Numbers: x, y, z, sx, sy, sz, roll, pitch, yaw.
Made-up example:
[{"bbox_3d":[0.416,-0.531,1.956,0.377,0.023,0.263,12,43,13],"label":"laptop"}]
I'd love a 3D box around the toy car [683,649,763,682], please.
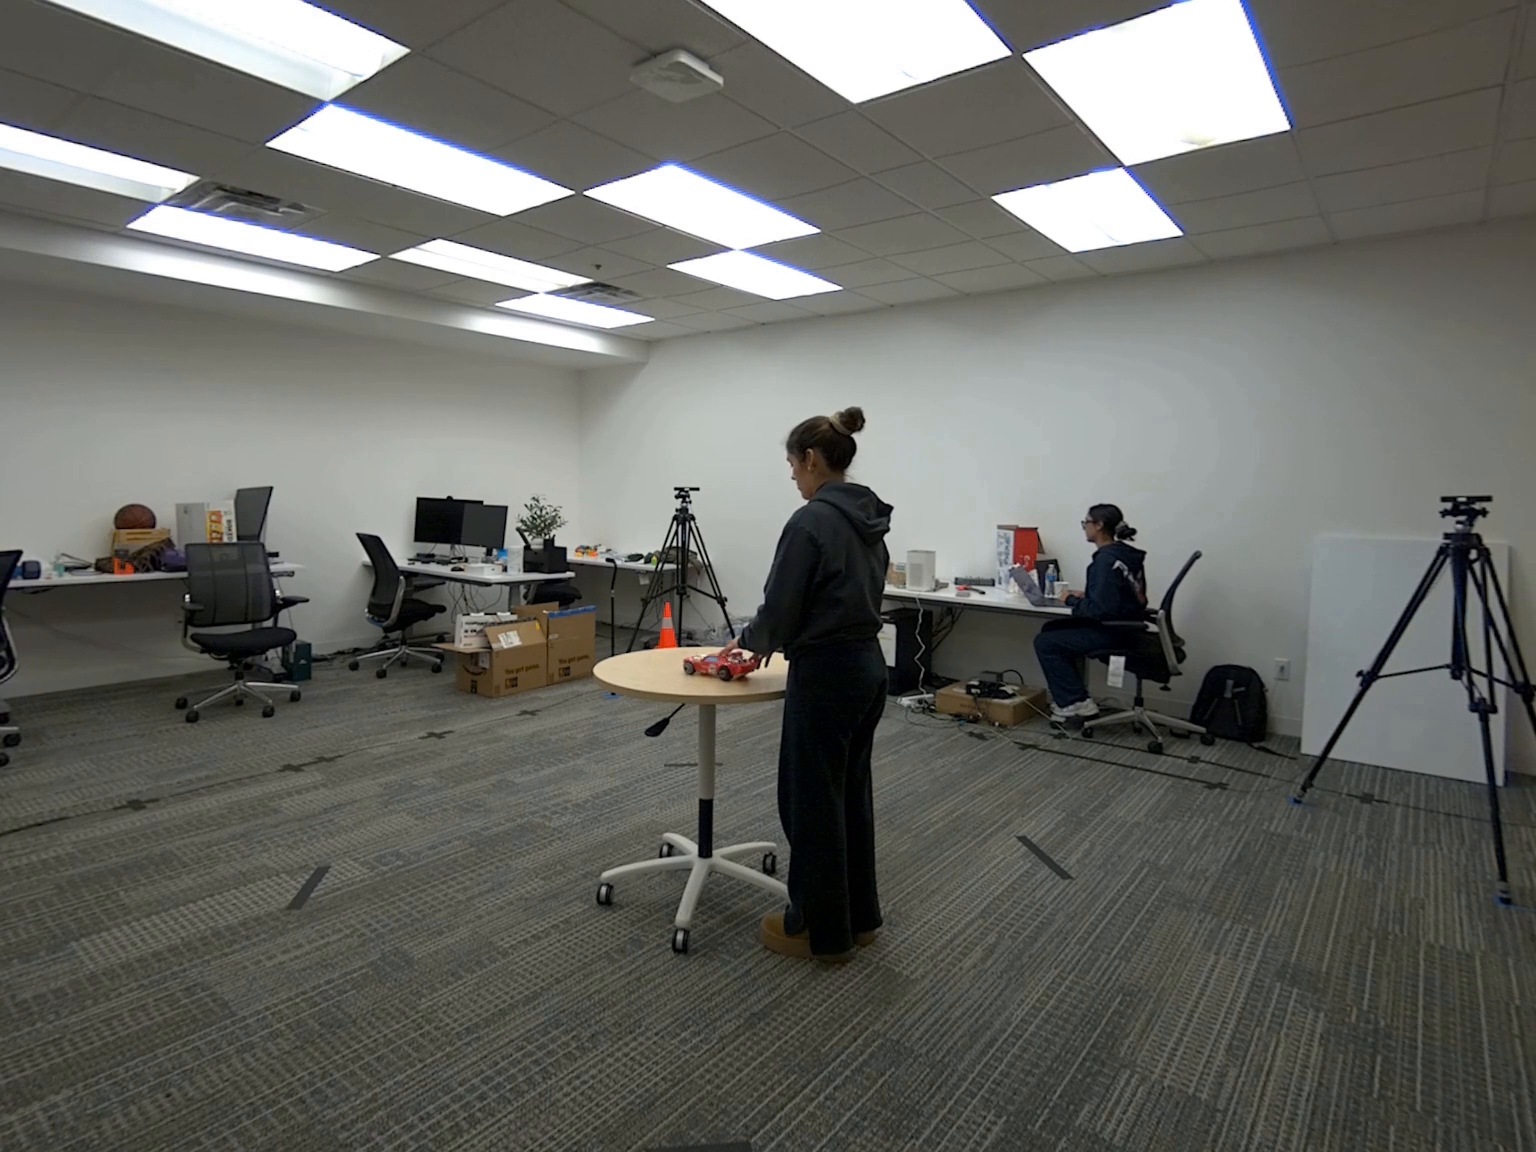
[{"bbox_3d":[-0.153,0.289,2.738,0.261,0.083,0.127,-8,0,35],"label":"toy car"}]
